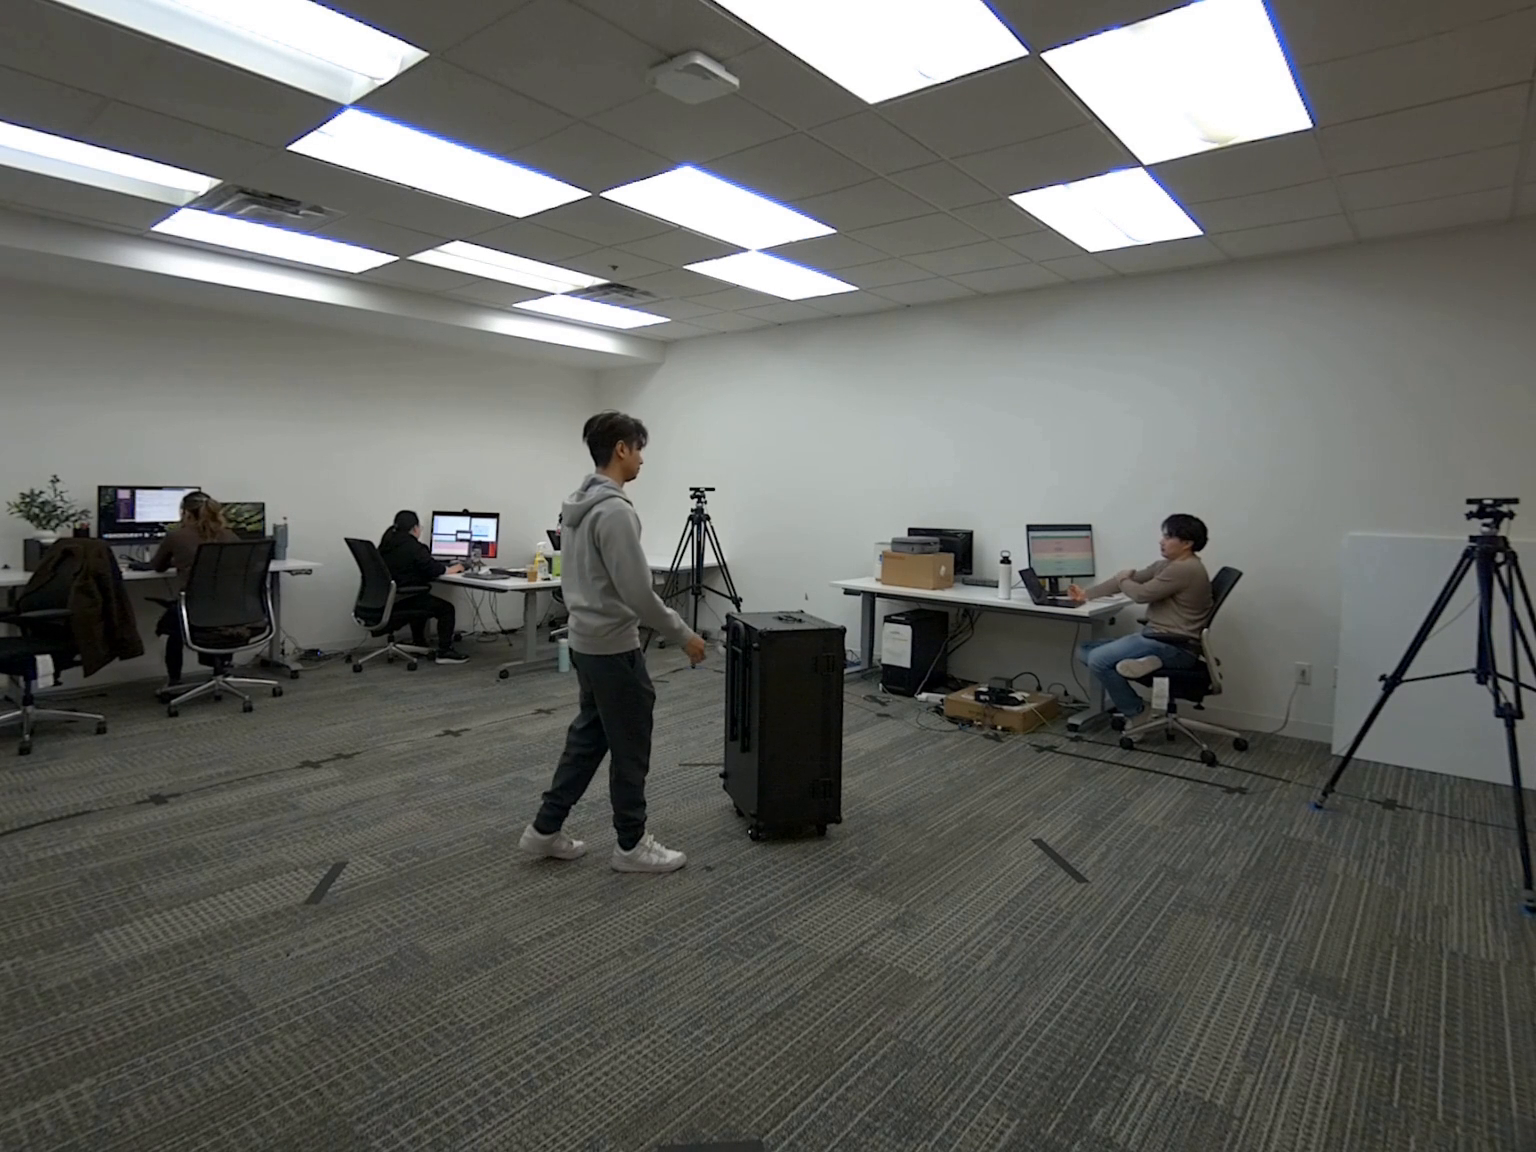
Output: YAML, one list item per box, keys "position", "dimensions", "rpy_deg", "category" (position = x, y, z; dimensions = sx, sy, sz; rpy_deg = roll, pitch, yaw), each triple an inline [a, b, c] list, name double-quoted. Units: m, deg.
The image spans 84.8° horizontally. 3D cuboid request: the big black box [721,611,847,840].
- position: [0.039, 0.541, 3.551]
  dimensions: [0.389, 0.859, 0.533]
  rpy_deg: [1, 3, -19]
  category: "big black box"
